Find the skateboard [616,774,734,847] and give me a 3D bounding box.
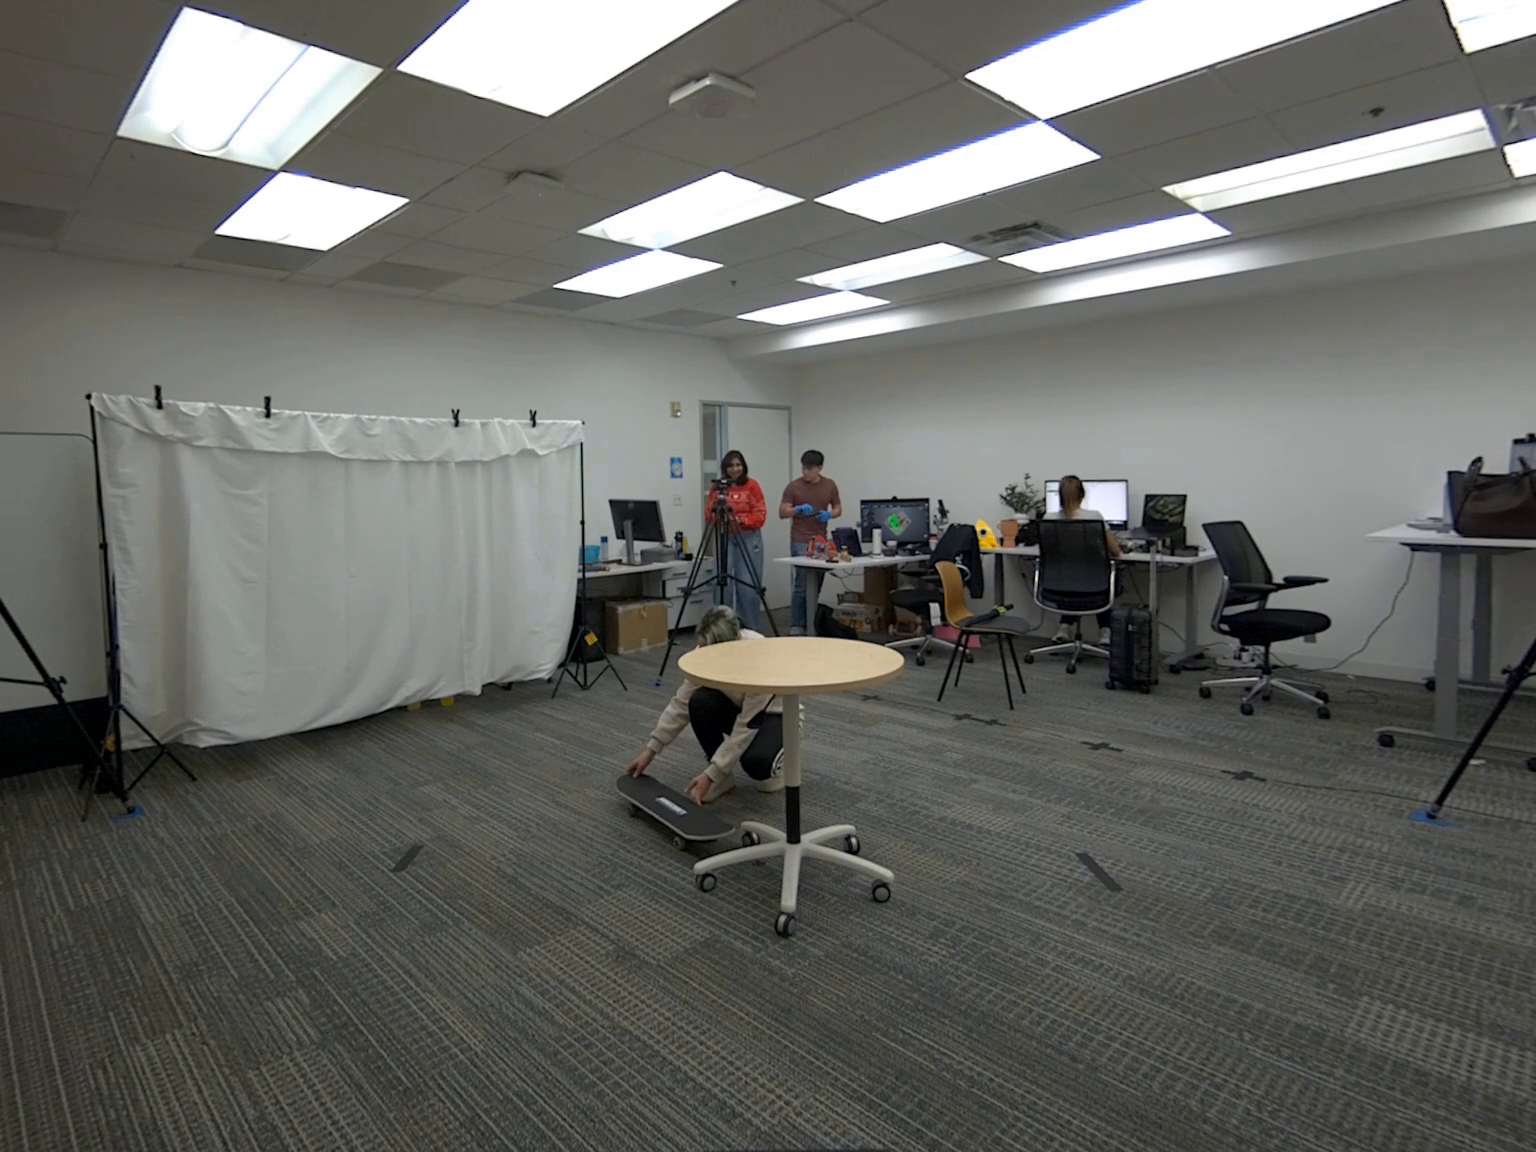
[{"bbox_3d":[-0.376,0.955,3.446,0.189,0.110,0.808,-6,7,-34],"label":"skateboard"}]
